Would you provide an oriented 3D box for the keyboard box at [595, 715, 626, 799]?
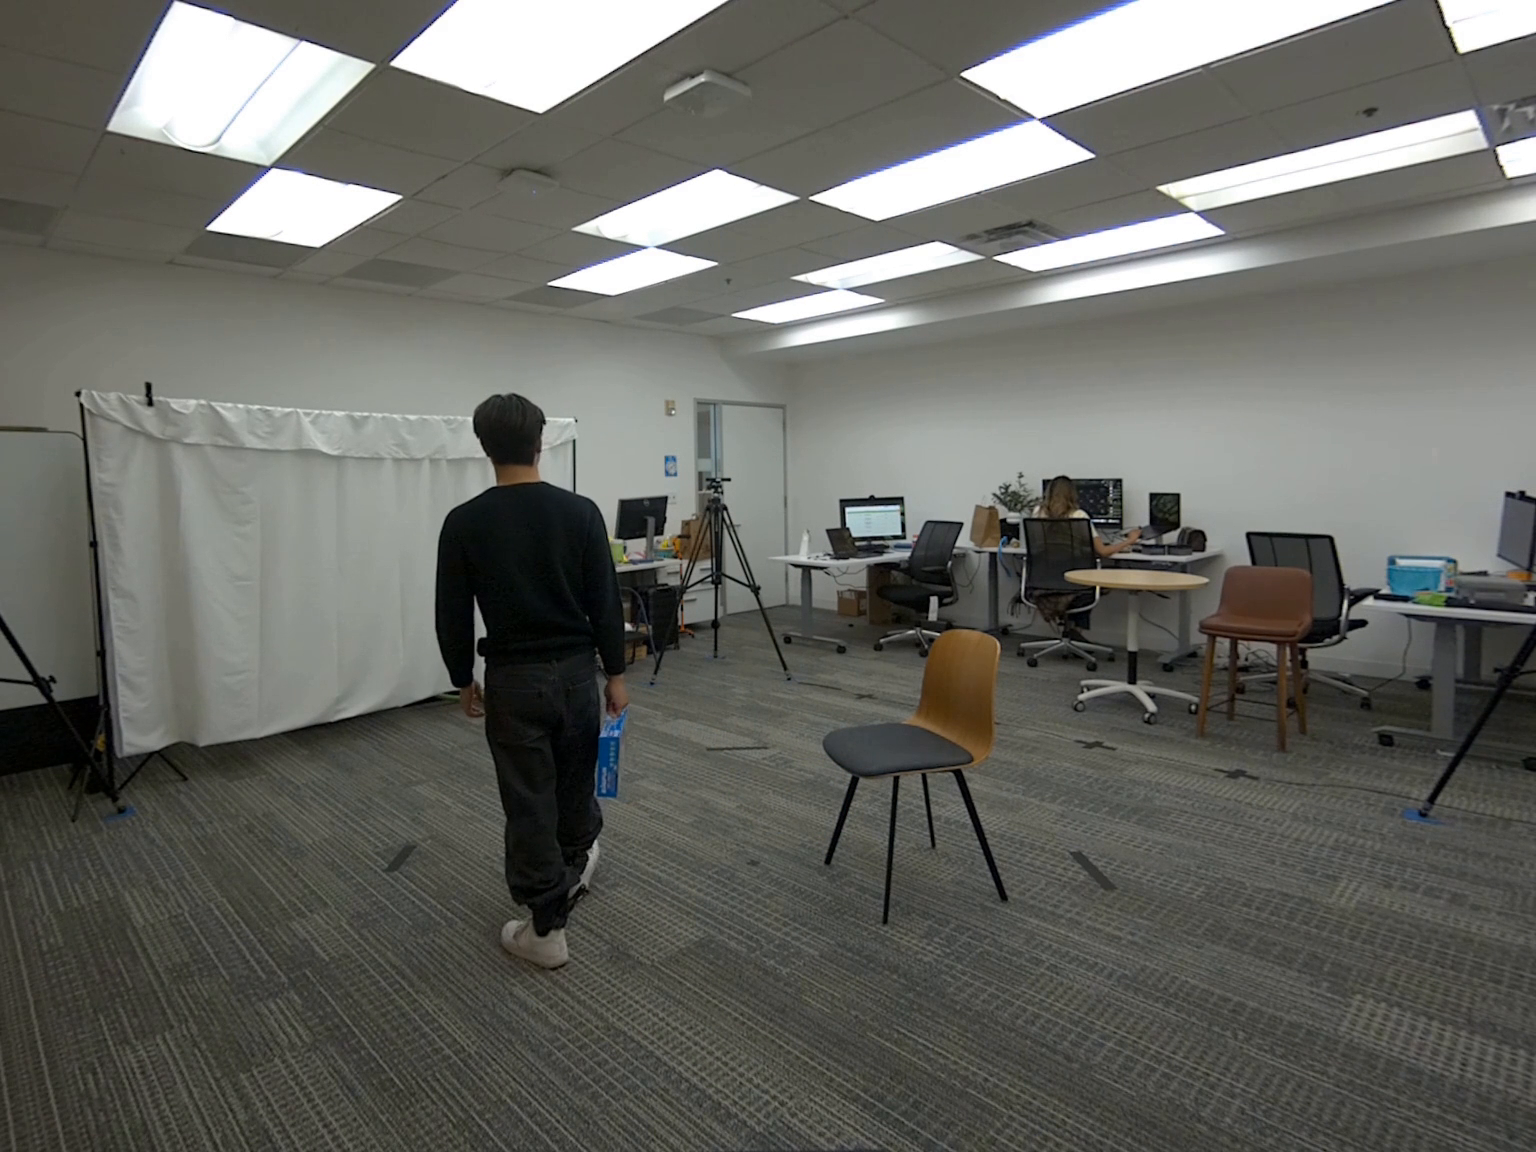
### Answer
[{"bbox_3d":[-0.476,0.529,2.638,0.059,0.176,0.440,4,3,-7],"label":"keyboard box"}]
